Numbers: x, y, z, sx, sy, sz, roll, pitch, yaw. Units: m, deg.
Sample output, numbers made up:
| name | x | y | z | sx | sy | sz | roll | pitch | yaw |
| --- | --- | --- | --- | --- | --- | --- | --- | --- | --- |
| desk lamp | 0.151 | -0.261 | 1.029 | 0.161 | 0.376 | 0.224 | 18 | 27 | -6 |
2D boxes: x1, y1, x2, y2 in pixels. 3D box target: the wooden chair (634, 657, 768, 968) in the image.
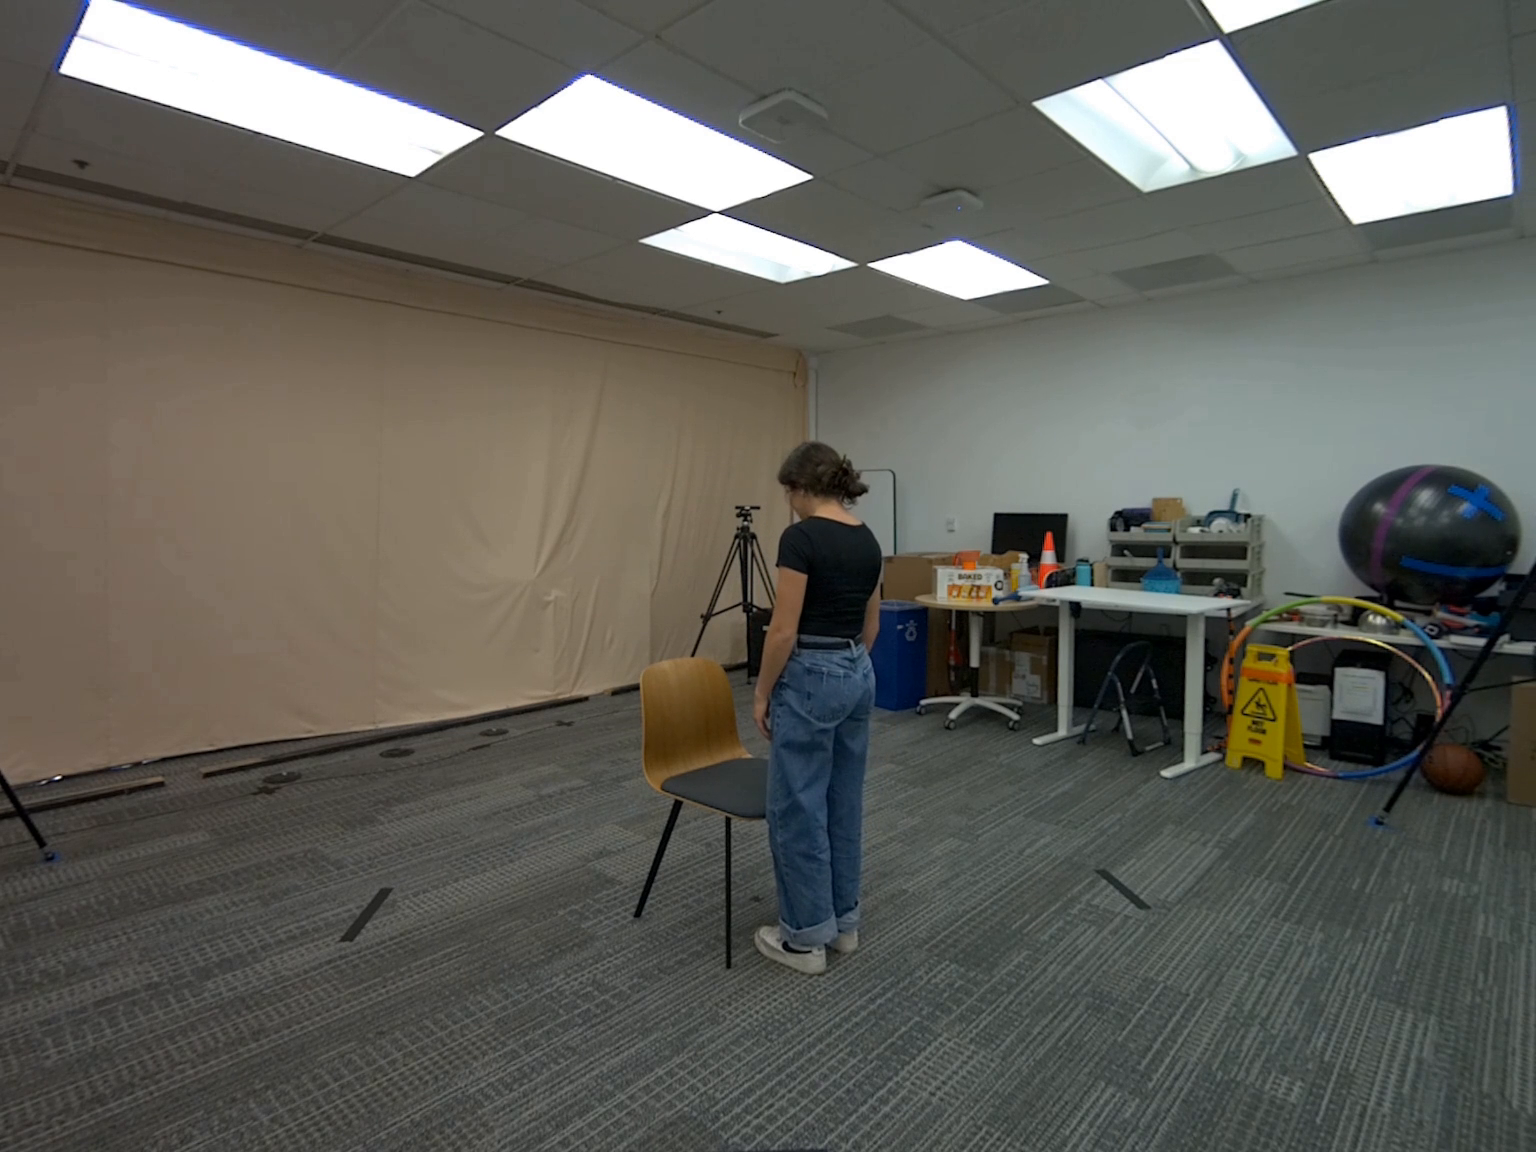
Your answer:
| name | x | y | z | sx | sy | sz | roll | pitch | yaw |
| --- | --- | --- | --- | --- | --- | --- | --- | --- | --- |
| wooden chair | -0.132 | 0.735 | 2.816 | 0.540 | 0.877 | 0.463 | -2 | 1 | 44 |
